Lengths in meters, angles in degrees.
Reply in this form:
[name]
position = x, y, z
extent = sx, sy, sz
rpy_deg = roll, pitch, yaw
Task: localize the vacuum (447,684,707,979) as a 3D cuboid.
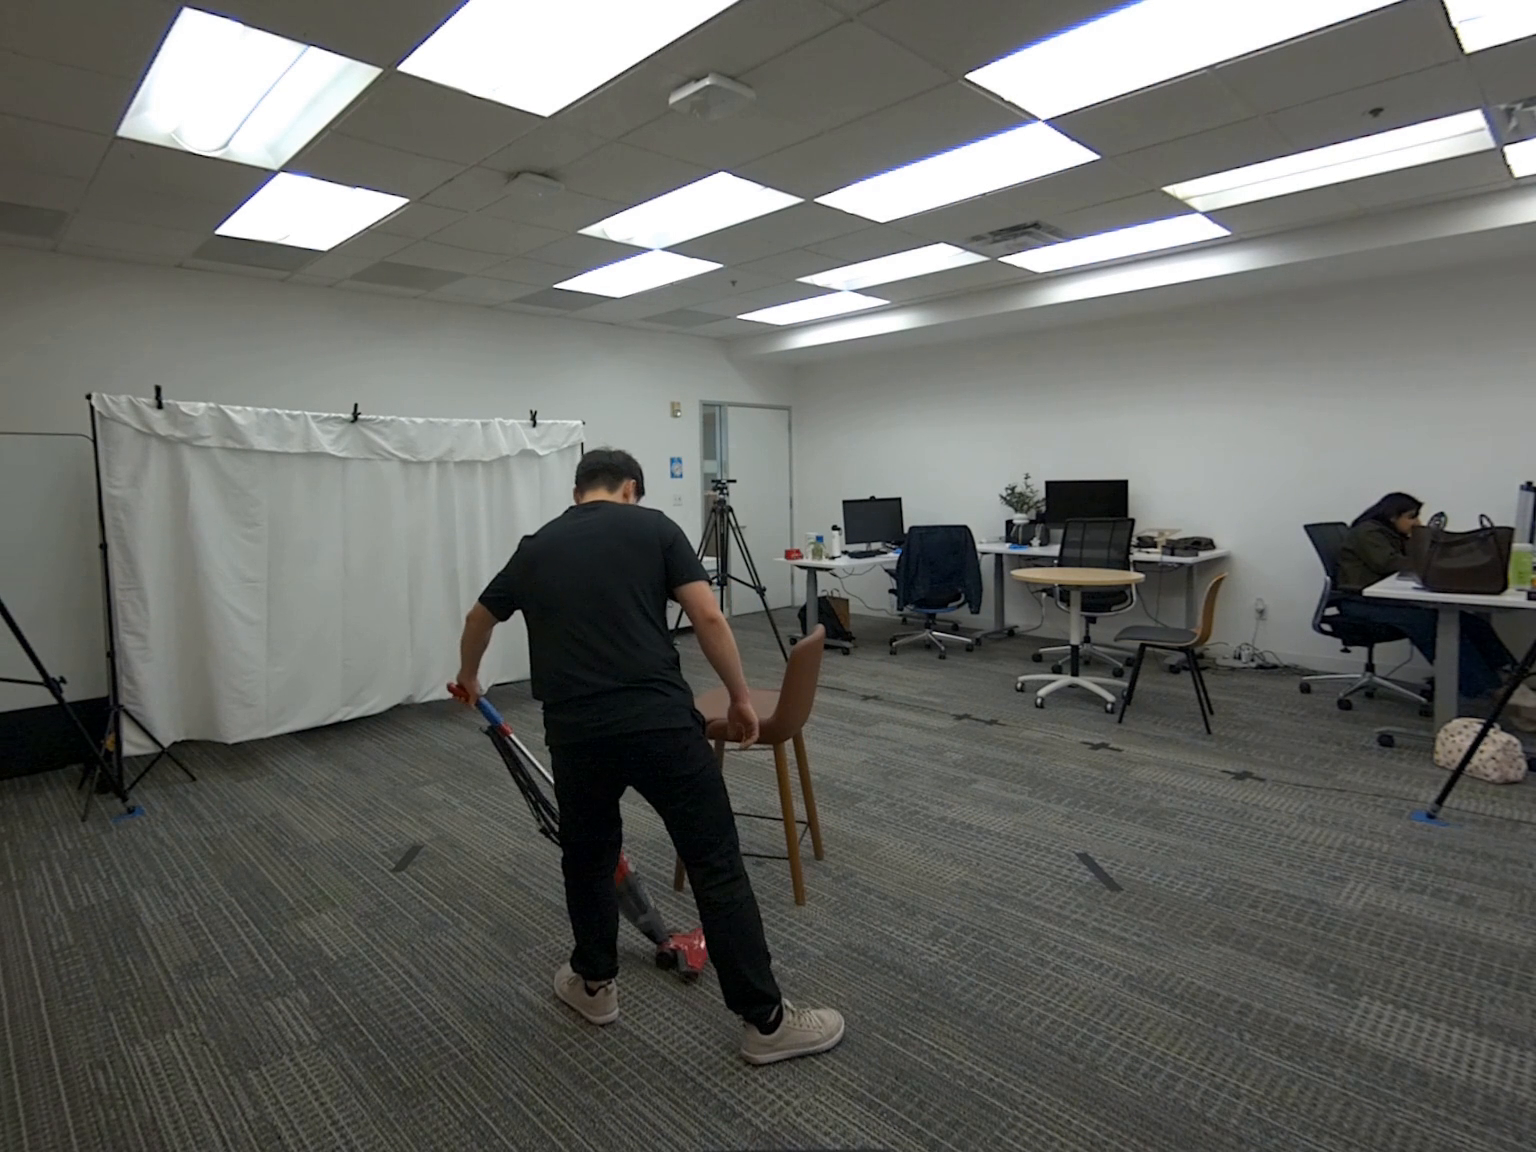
[vacuum]
position = -0.595, 0.725, 2.546
extent = 0.144, 1.056, 0.251
rpy_deg = -44, -4, 10
